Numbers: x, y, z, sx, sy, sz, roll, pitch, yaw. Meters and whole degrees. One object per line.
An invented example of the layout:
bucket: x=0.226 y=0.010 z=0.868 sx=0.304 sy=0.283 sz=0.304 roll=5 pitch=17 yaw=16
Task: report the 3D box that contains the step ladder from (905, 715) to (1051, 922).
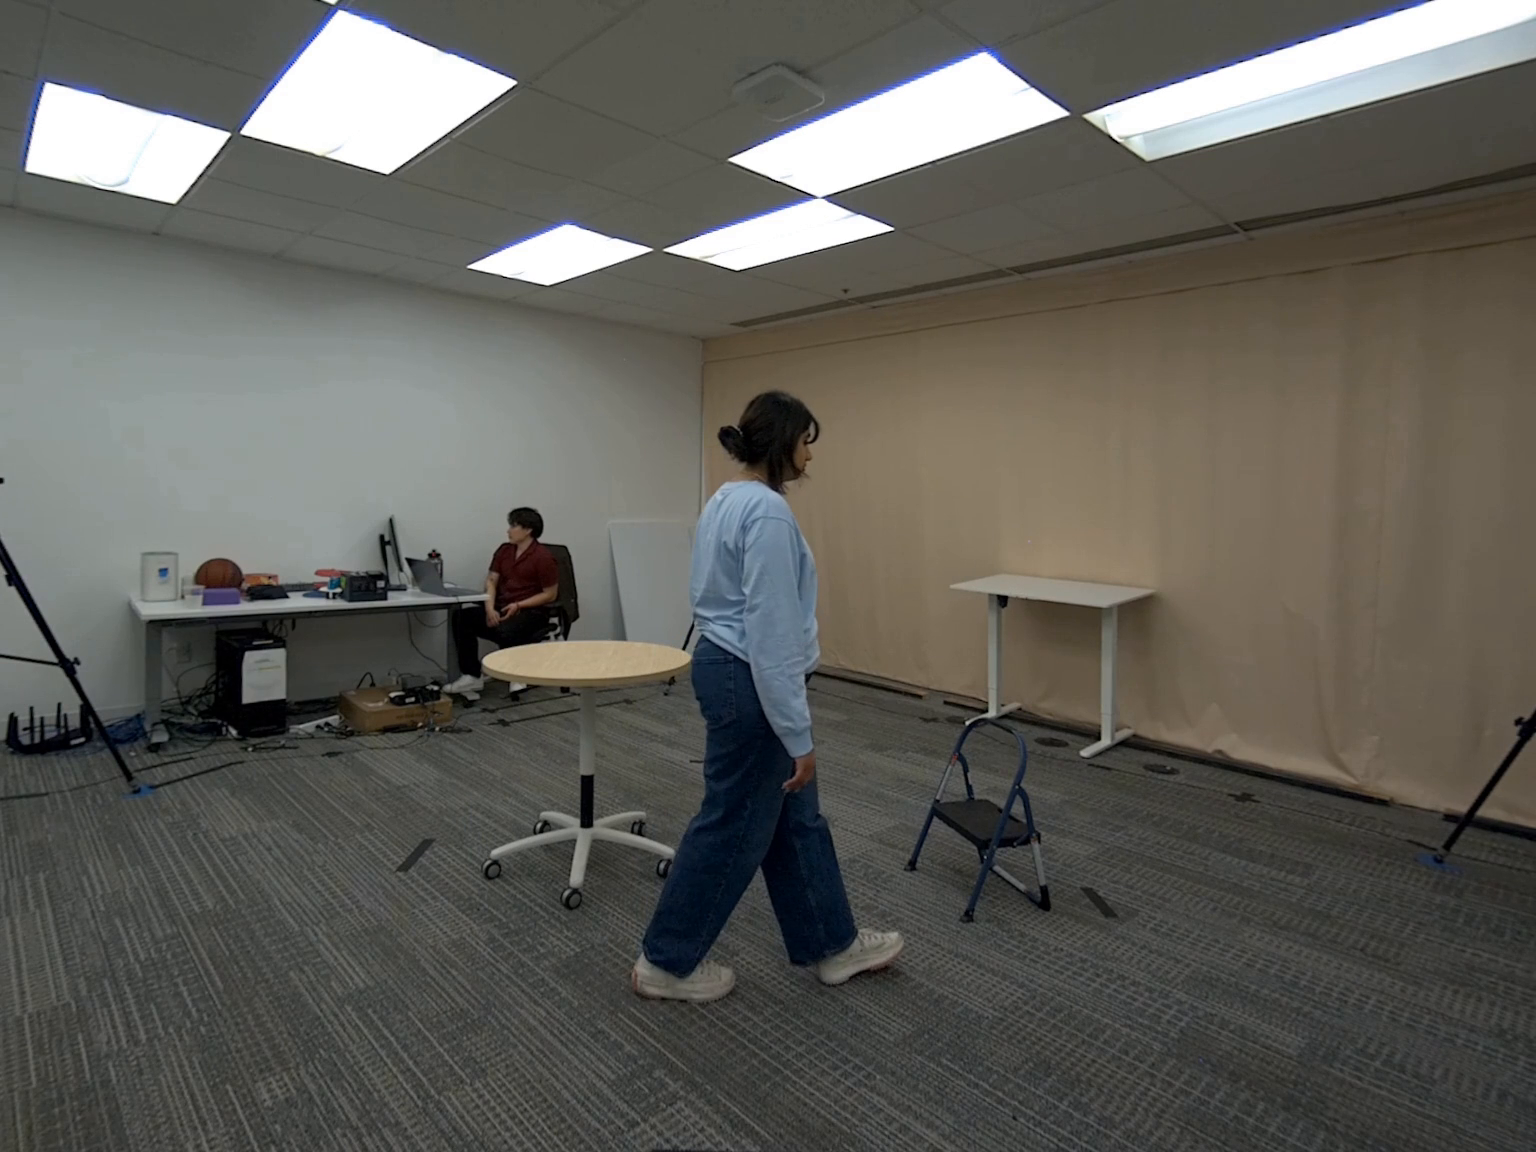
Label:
step ladder: x=0.750 y=0.832 z=3.030 sx=0.344 sy=0.604 sz=0.438 roll=1 pitch=4 yaw=-18
